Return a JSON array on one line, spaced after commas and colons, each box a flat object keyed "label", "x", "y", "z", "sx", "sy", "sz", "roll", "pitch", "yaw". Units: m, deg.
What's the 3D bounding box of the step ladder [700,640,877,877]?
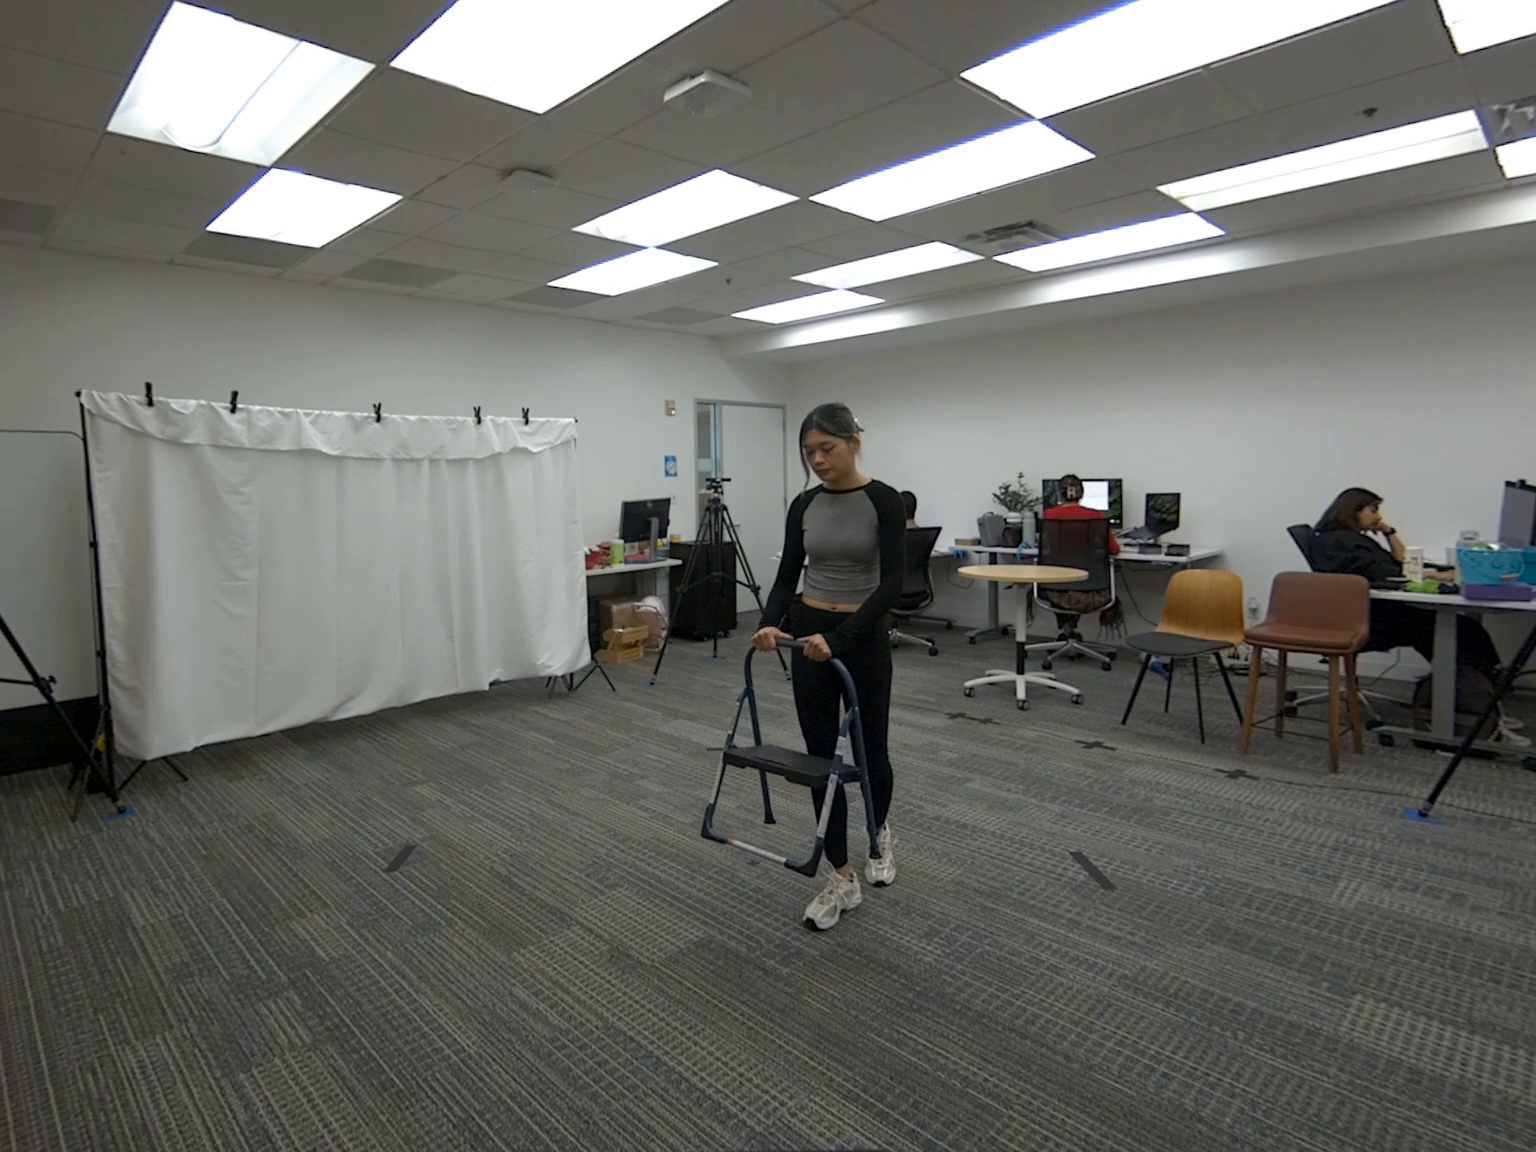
[{"label": "step ladder", "x": 0.087, "y": 0.497, "z": 2.530, "sx": 0.443, "sy": 0.608, "sz": 0.338, "roll": 2, "pitch": -4, "yaw": 40}]
